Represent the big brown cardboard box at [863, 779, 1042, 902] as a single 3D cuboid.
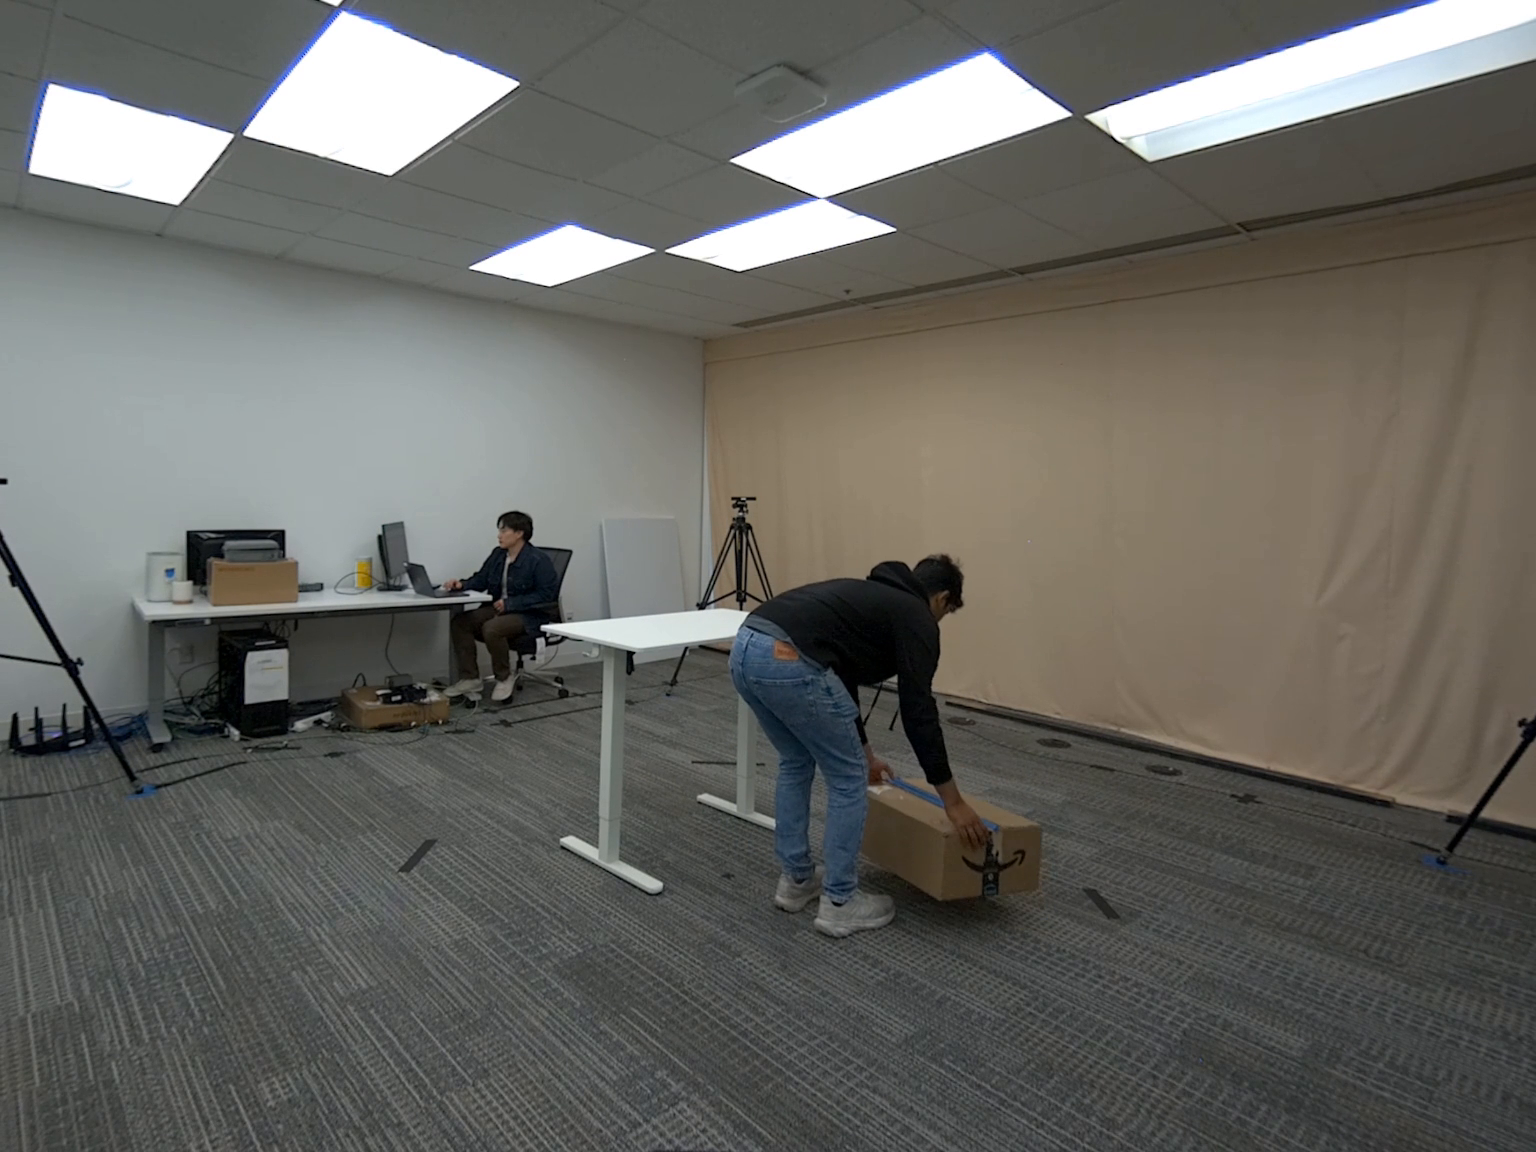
[{"bbox_3d":[0.598,0.898,2.982,0.409,0.233,0.601,4,2,-27],"label":"big brown cardboard box"}]
